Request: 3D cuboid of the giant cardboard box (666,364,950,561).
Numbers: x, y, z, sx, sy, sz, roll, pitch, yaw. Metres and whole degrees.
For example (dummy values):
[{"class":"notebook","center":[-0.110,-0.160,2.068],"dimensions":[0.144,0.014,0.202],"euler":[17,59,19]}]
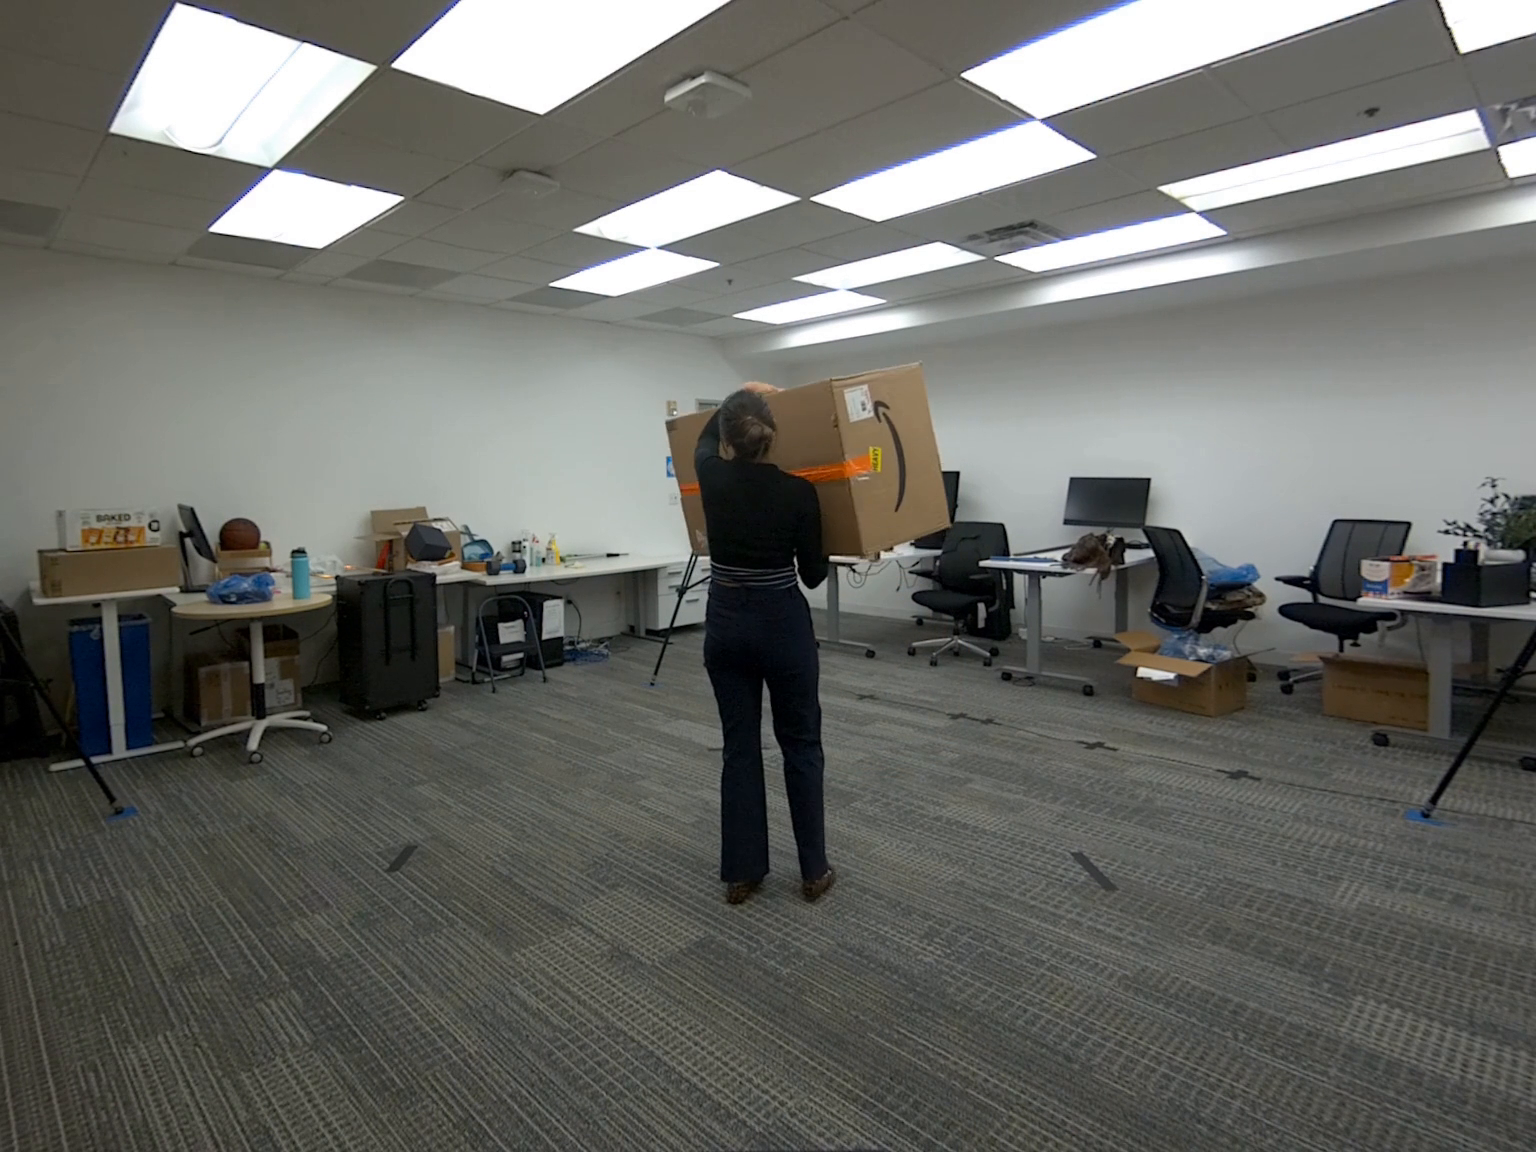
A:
[{"class":"giant cardboard box","center":[0.106,-0.393,3.223],"dimensions":[0.418,0.572,1.054],"euler":[-18,11,-35]}]
